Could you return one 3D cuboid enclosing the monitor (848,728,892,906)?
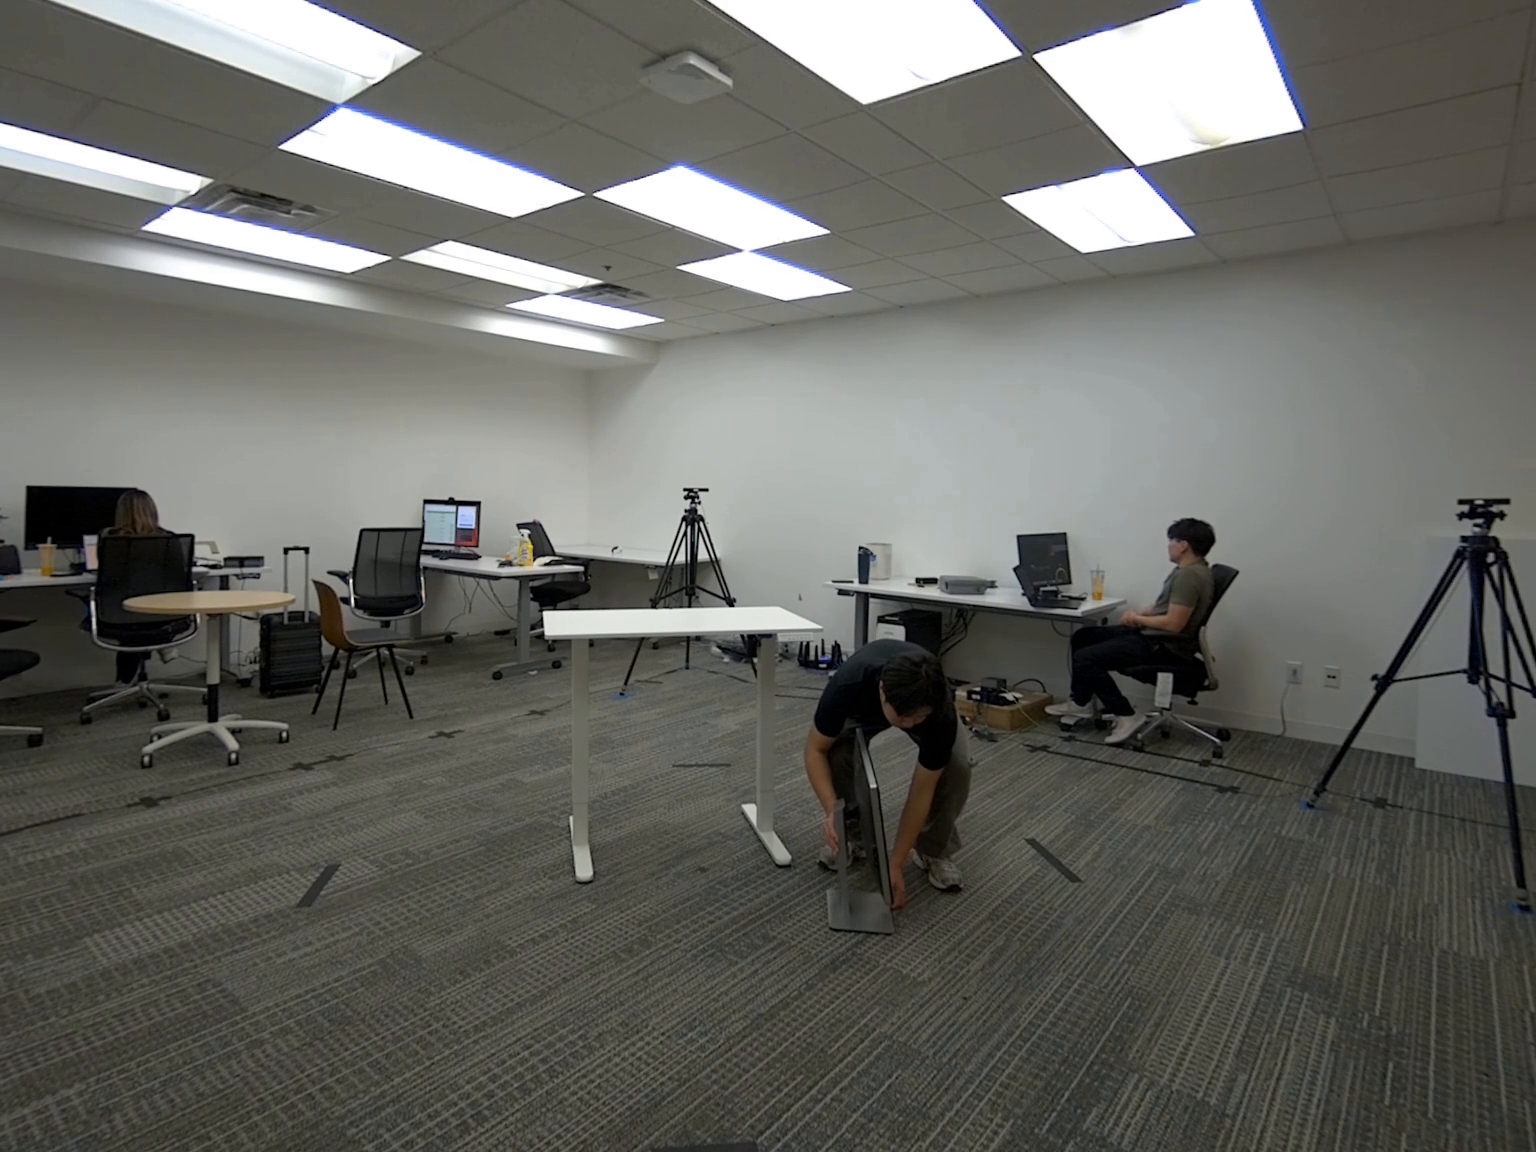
[{"bbox_3d":[0.314,0.853,2.783,0.224,0.563,0.561,5,7,4],"label":"monitor"}]
